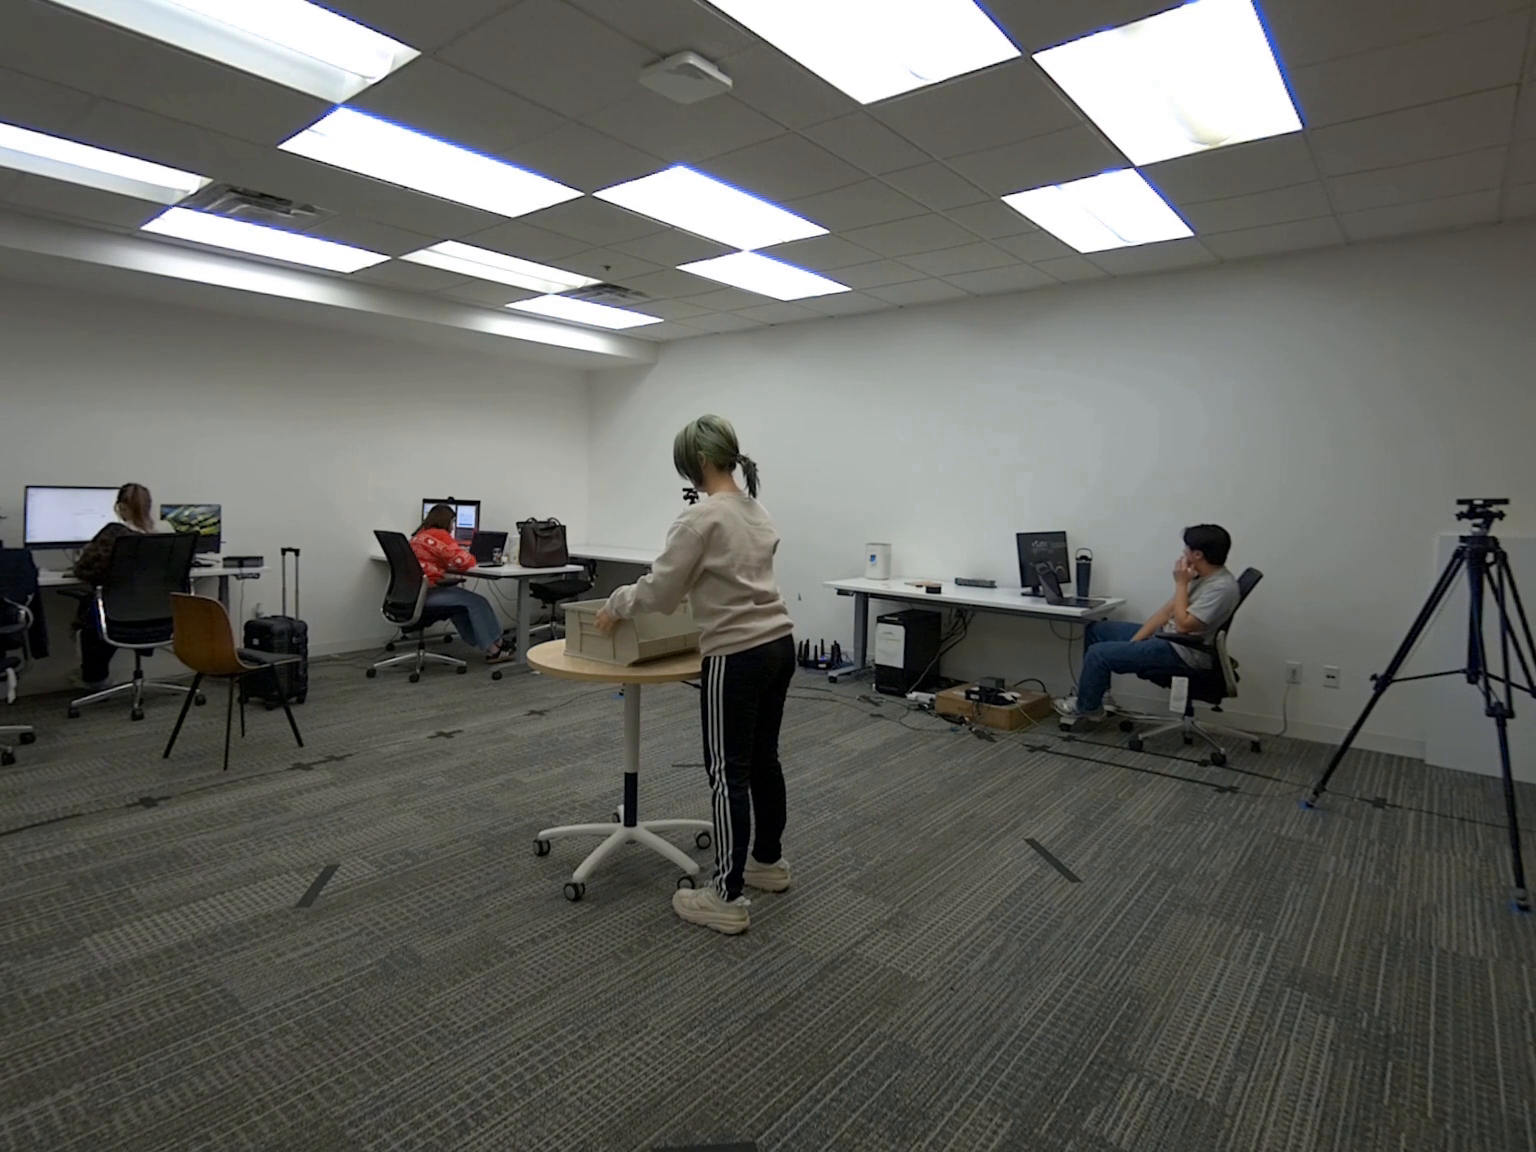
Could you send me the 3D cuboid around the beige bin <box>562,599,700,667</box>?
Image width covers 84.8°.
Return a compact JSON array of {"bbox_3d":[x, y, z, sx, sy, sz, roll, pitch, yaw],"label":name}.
[{"bbox_3d":[-0.483,0.190,3.100,0.389,0.188,0.411,3,6,35],"label":"beige bin"}]
